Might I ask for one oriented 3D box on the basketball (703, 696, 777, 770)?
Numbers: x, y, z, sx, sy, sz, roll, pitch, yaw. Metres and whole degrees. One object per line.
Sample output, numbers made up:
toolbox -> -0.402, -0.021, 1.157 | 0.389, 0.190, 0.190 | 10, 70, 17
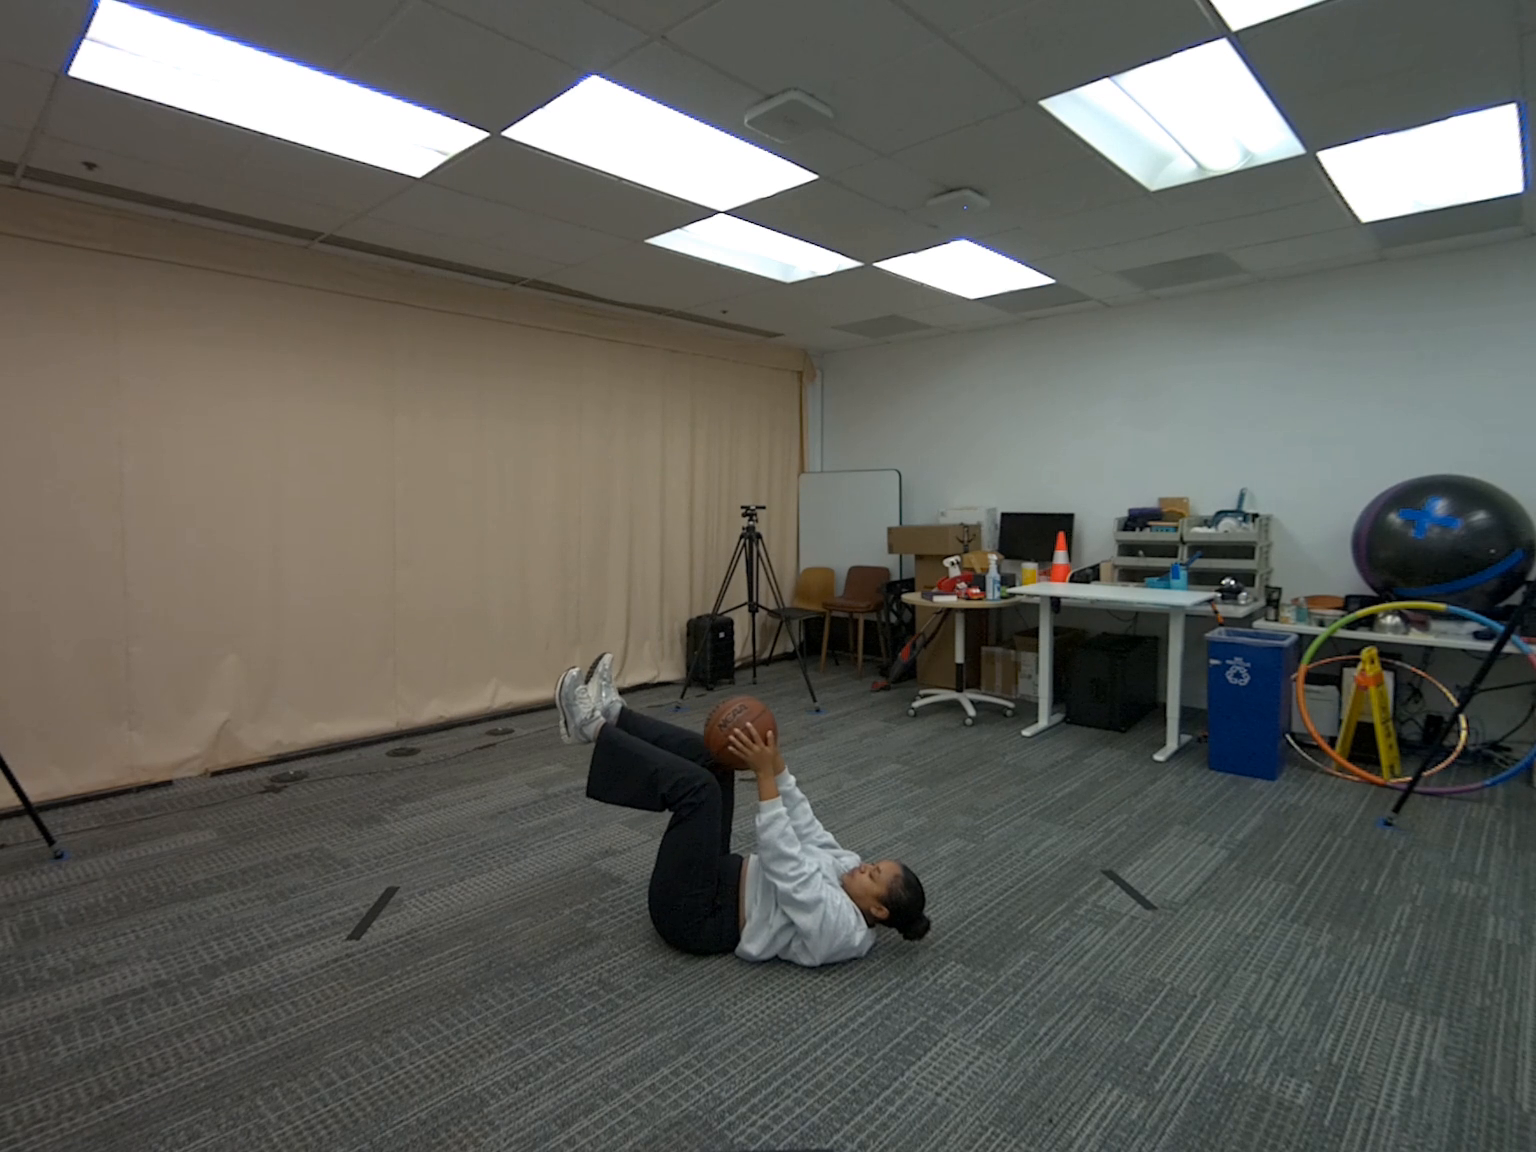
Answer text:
basketball -> -0.063, 0.501, 2.700 | 0.235, 0.235, 0.237 | 1, 4, -2
